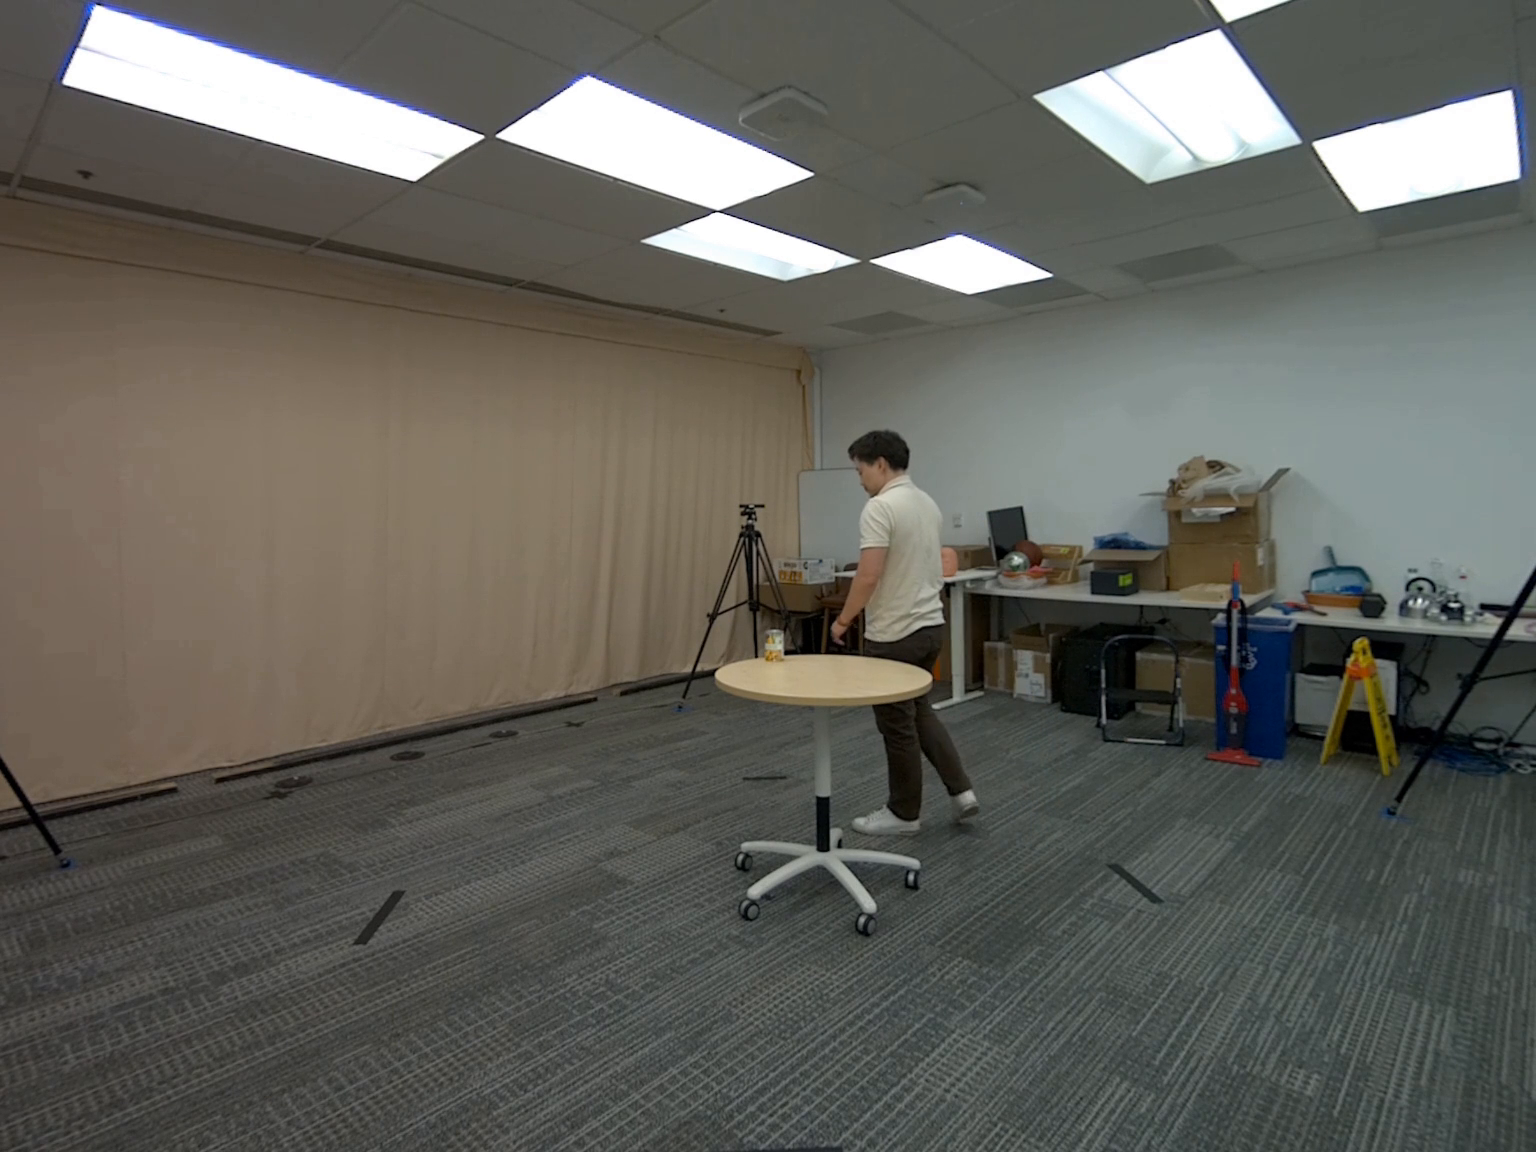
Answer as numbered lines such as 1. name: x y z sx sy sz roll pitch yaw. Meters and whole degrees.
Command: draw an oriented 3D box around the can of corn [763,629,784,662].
1. can of corn: 0.027 0.272 3.280 0.074 0.111 0.074 -4 3 -2
